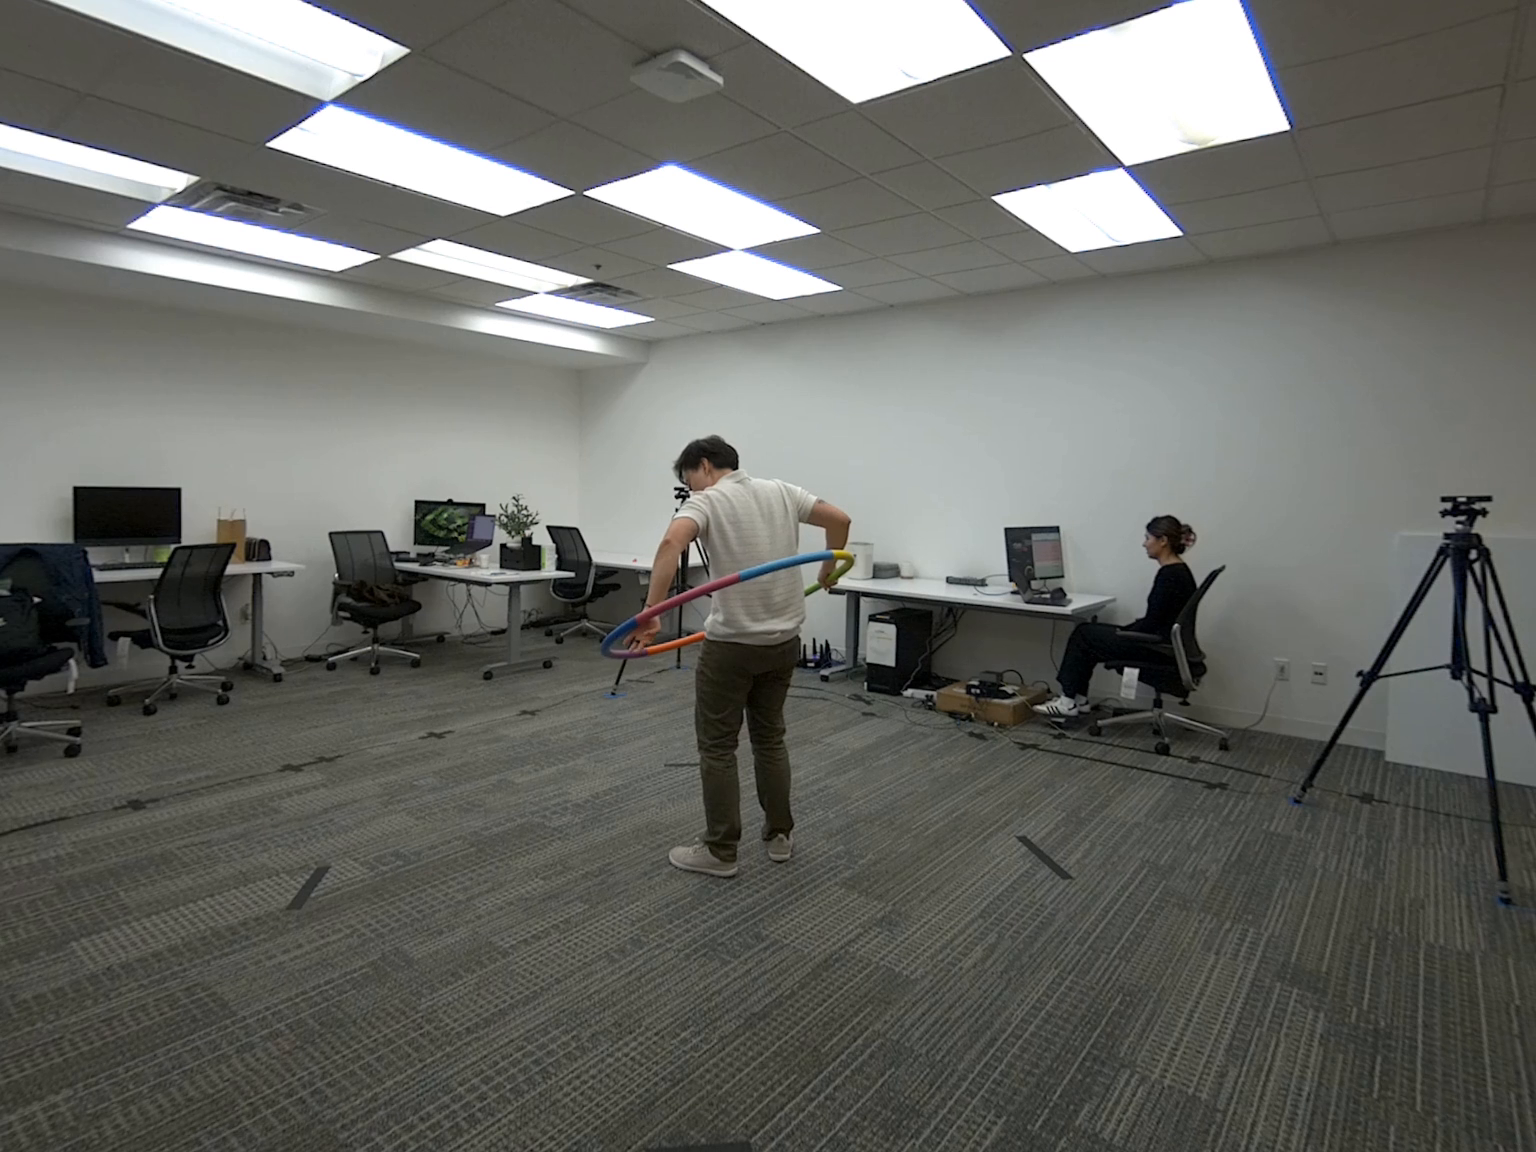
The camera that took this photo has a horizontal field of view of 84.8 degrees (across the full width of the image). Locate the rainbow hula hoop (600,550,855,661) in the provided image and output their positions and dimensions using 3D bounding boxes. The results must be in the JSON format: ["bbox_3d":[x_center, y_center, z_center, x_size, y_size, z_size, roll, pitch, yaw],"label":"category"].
[{"bbox_3d":[-0.152,0.112,3.139,0.974,0.036,0.967,-20,-11,-7],"label":"rainbow hula hoop"}]
